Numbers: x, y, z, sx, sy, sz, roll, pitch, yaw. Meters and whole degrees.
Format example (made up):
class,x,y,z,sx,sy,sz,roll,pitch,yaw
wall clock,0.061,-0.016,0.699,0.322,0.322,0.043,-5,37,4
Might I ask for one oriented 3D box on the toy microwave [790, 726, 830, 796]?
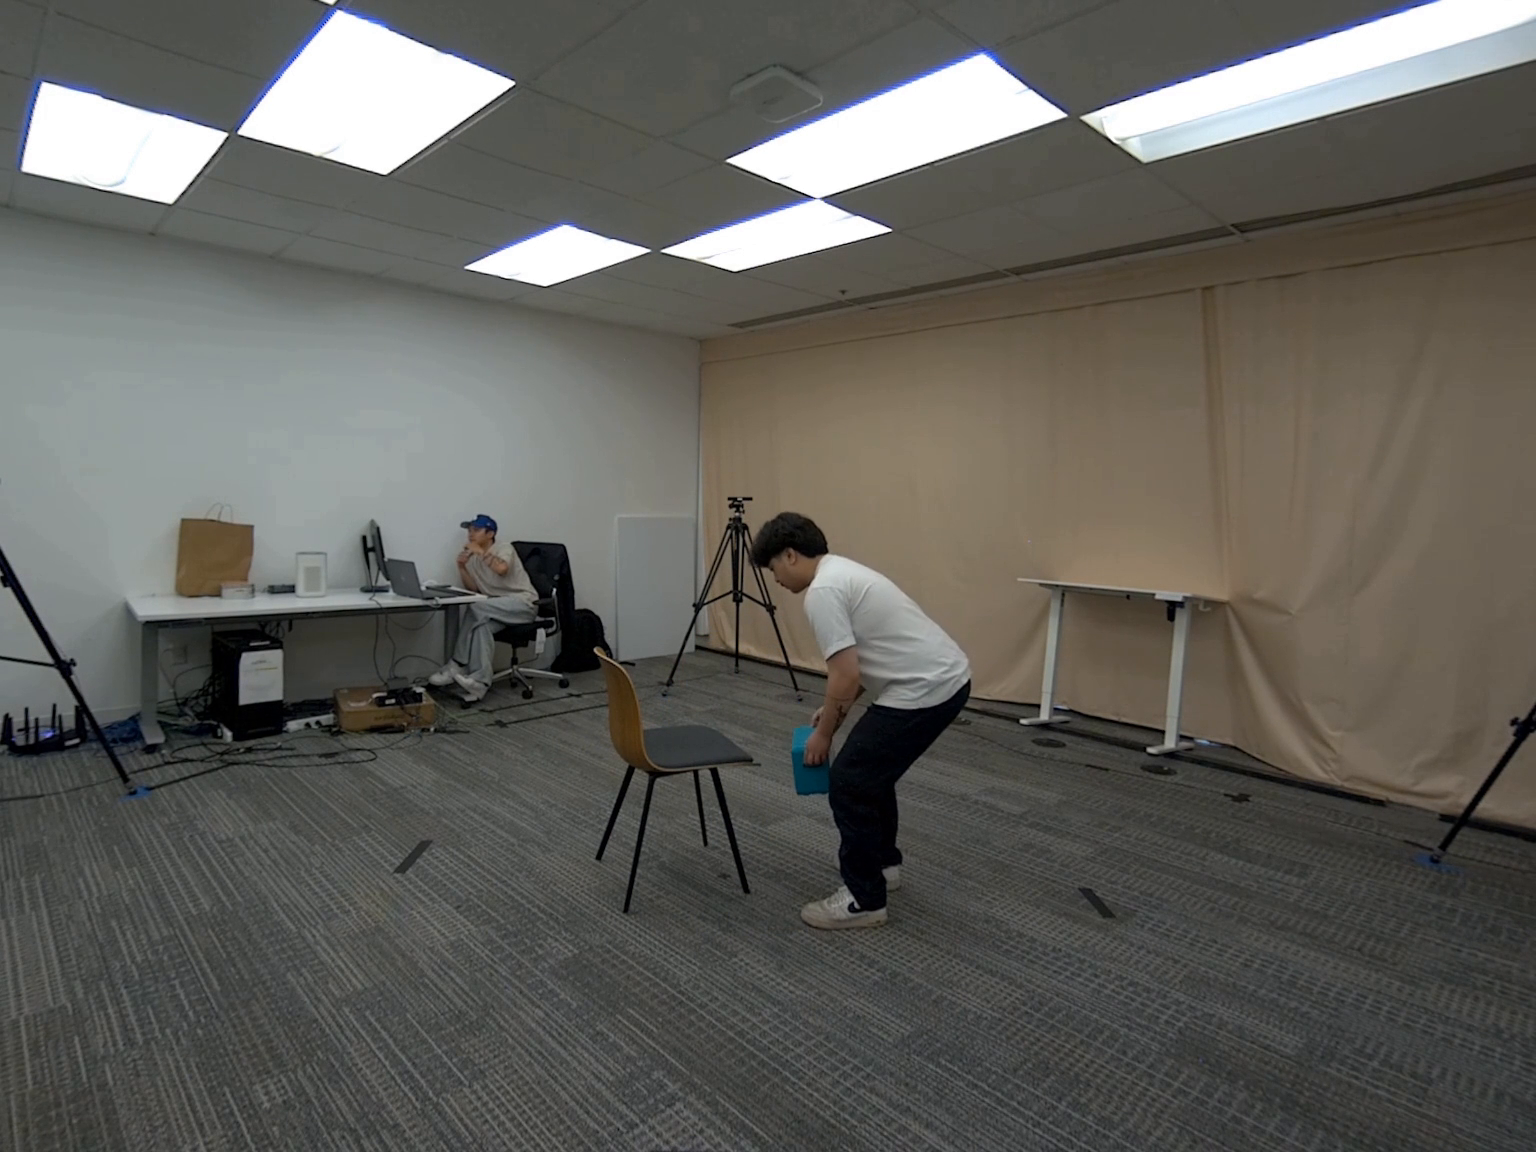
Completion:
class,x,y,z,sx,sy,sz,roll,pitch,yaw
toy microwave,0.166,0.661,3.064,0.153,0.183,0.285,-6,5,7
